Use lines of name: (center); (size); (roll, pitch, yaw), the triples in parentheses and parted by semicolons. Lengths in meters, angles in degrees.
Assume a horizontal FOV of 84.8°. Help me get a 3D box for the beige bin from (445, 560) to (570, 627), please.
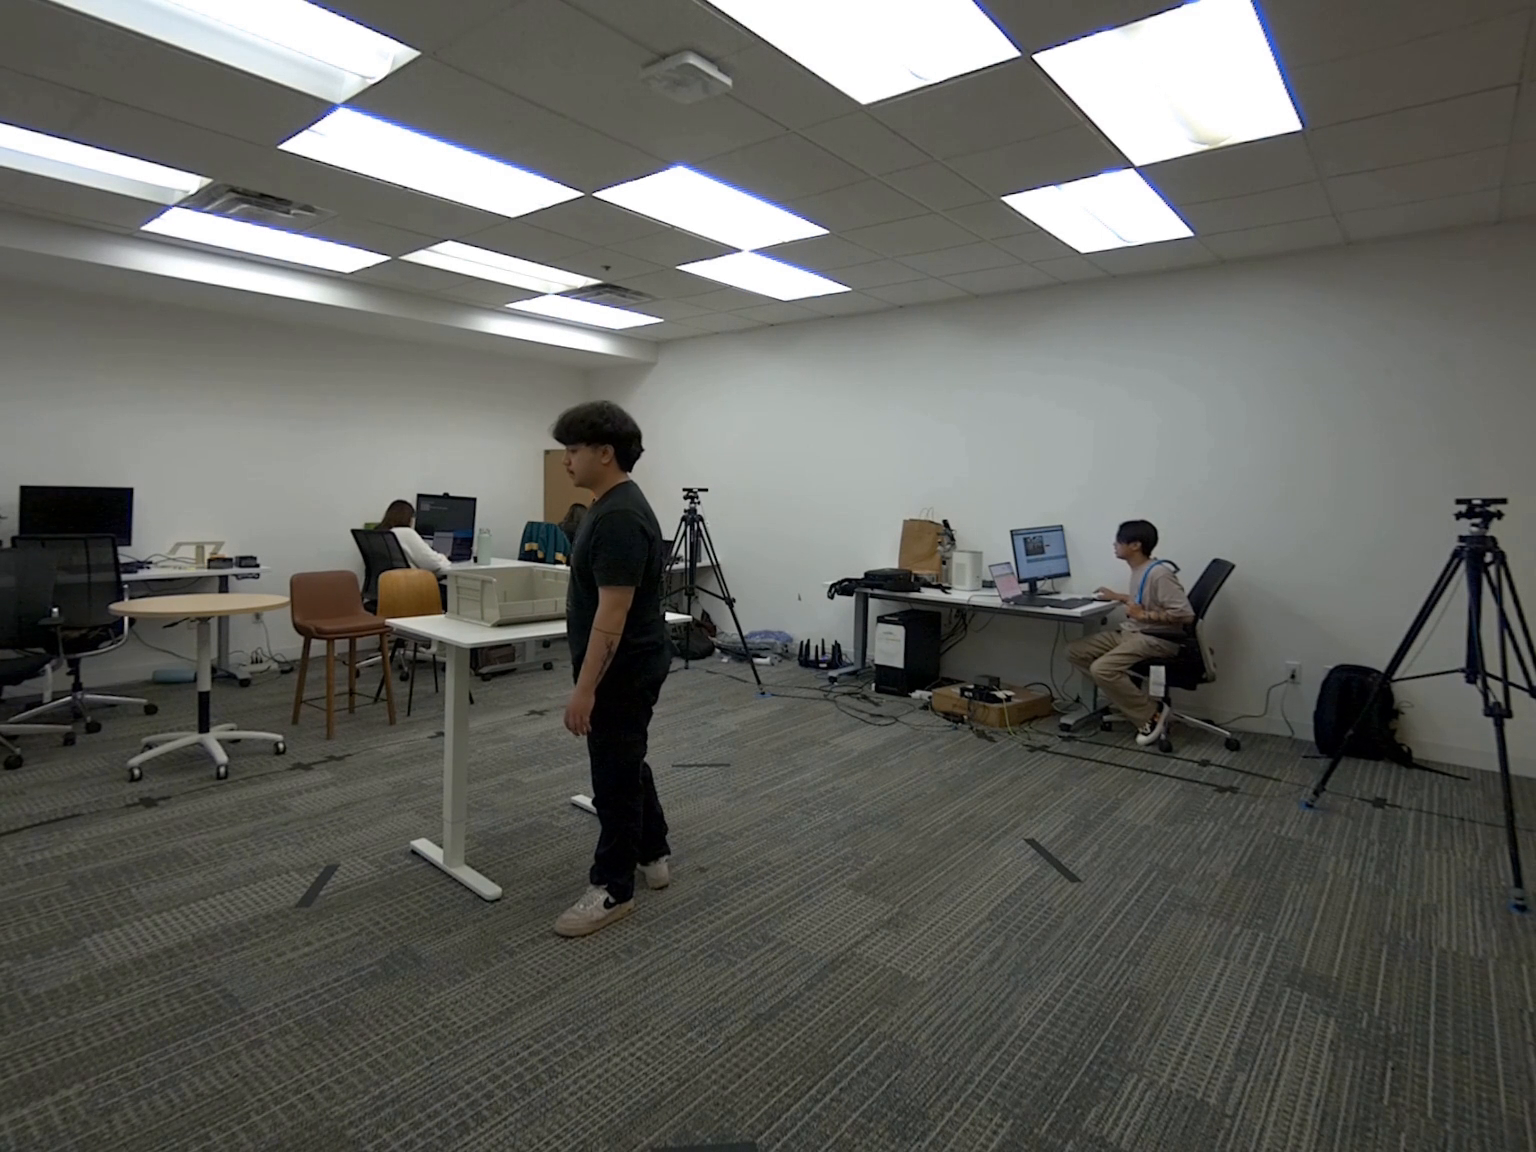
beige bin: (-0.971, 0.071, 3.260); (0.390, 0.188, 0.410); (5, 6, 40)
